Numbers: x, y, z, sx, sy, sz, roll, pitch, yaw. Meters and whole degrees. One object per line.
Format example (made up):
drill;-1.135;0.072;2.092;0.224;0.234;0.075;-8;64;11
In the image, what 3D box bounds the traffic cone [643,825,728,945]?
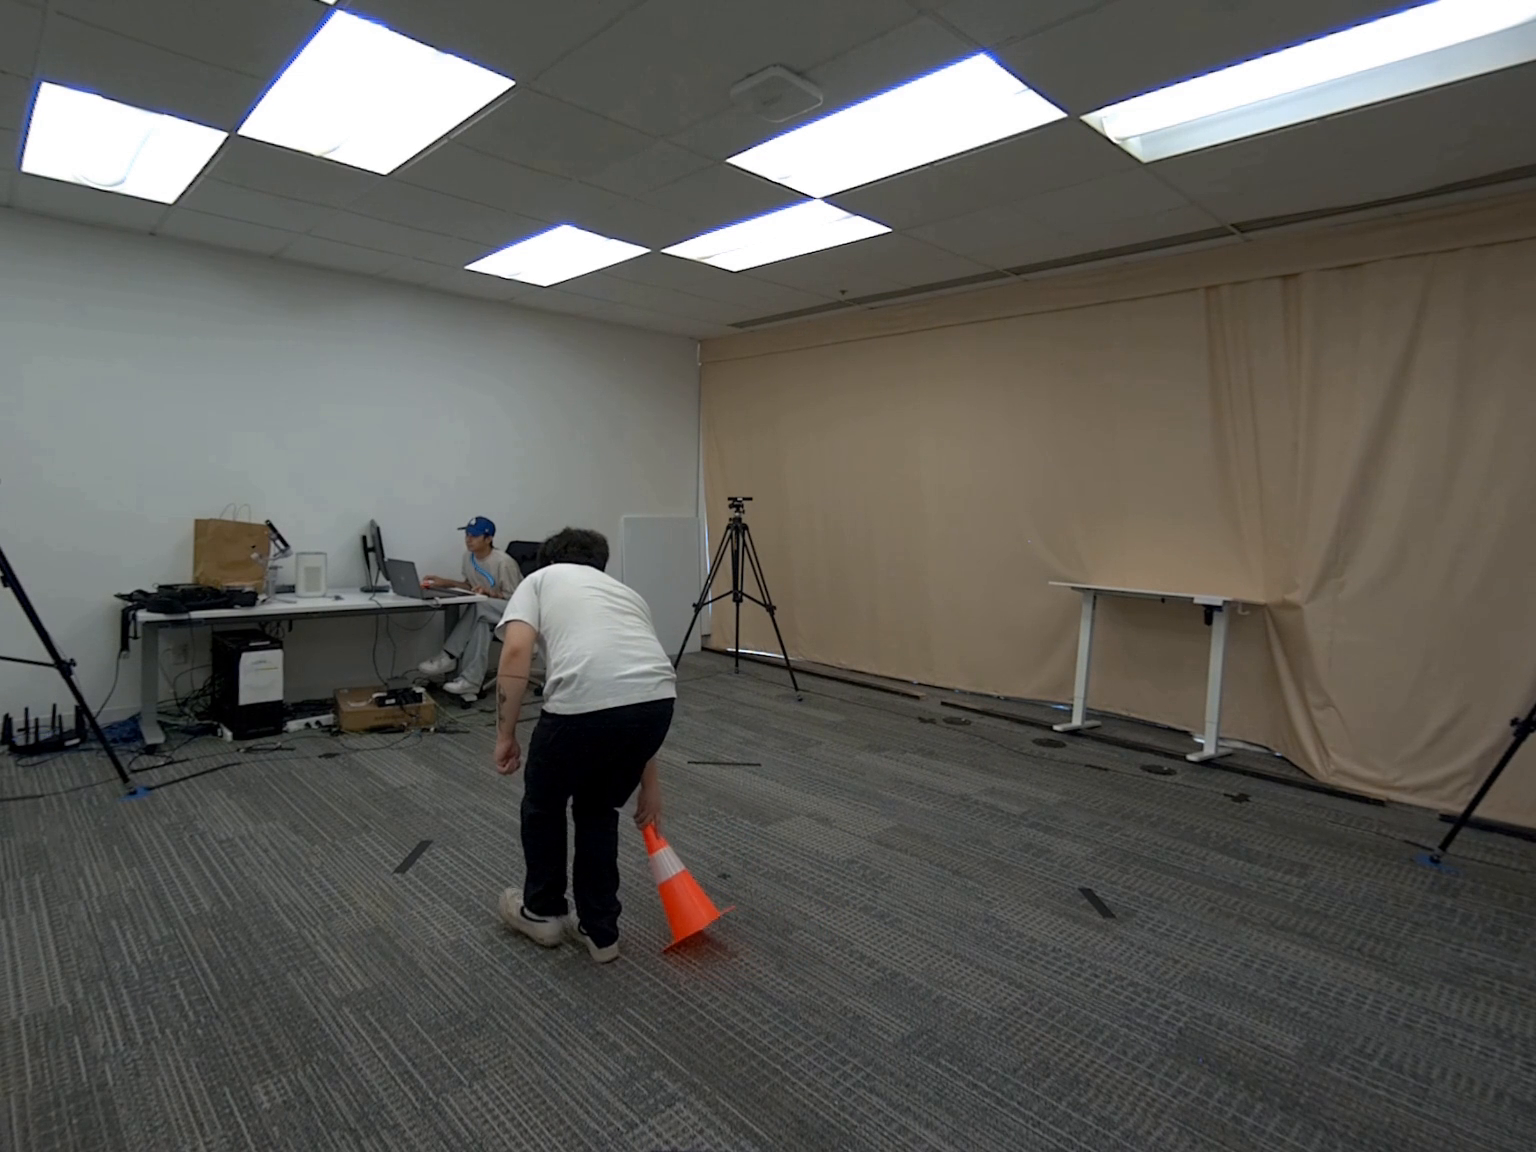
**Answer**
traffic cone;-0.317;0.939;2.658;0.204;0.390;0.201;-35;-17;23
